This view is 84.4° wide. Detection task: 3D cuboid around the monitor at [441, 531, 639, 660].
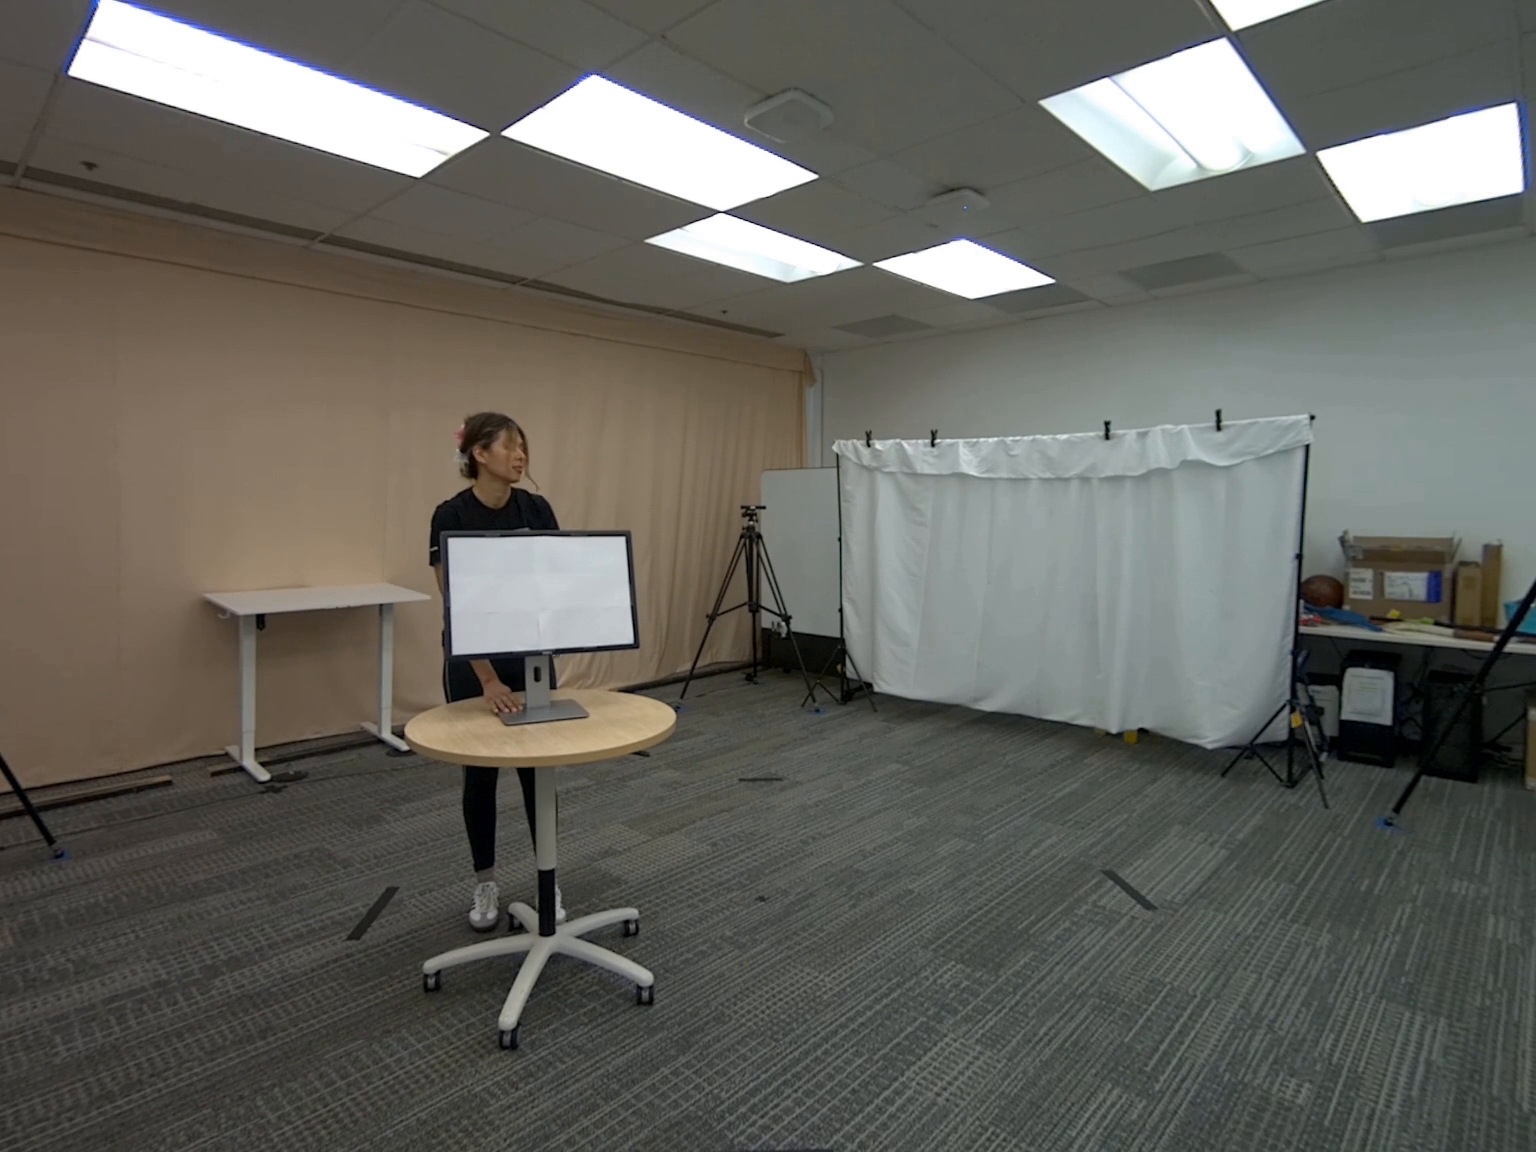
[{"bbox_3d":[-0.670,0.142,2.480,0.525,0.522,0.192,-1,3,-28],"label":"monitor"}]
